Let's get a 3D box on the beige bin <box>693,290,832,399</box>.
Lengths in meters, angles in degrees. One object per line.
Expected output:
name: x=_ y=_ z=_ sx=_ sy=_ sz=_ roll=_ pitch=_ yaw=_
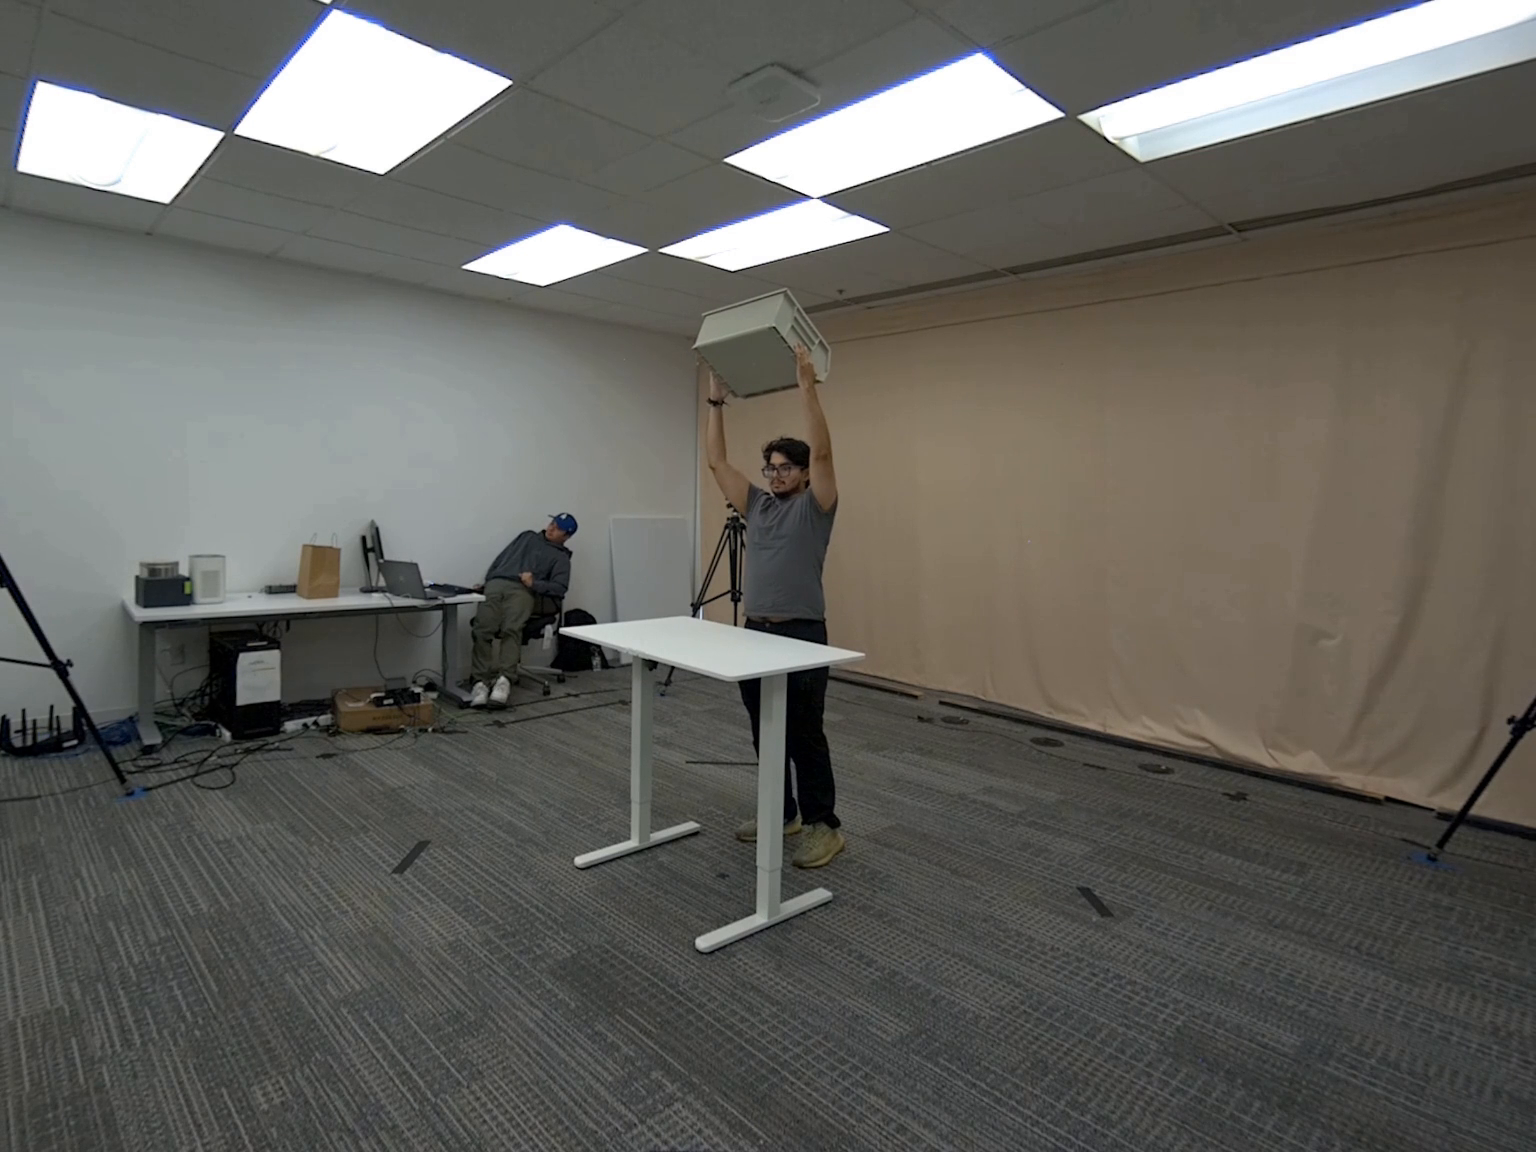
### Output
beige bin: x=-0.028 y=-0.894 z=3.351 sx=0.432 sy=0.191 sz=0.365 roll=-2 pitch=-31 yaw=39
